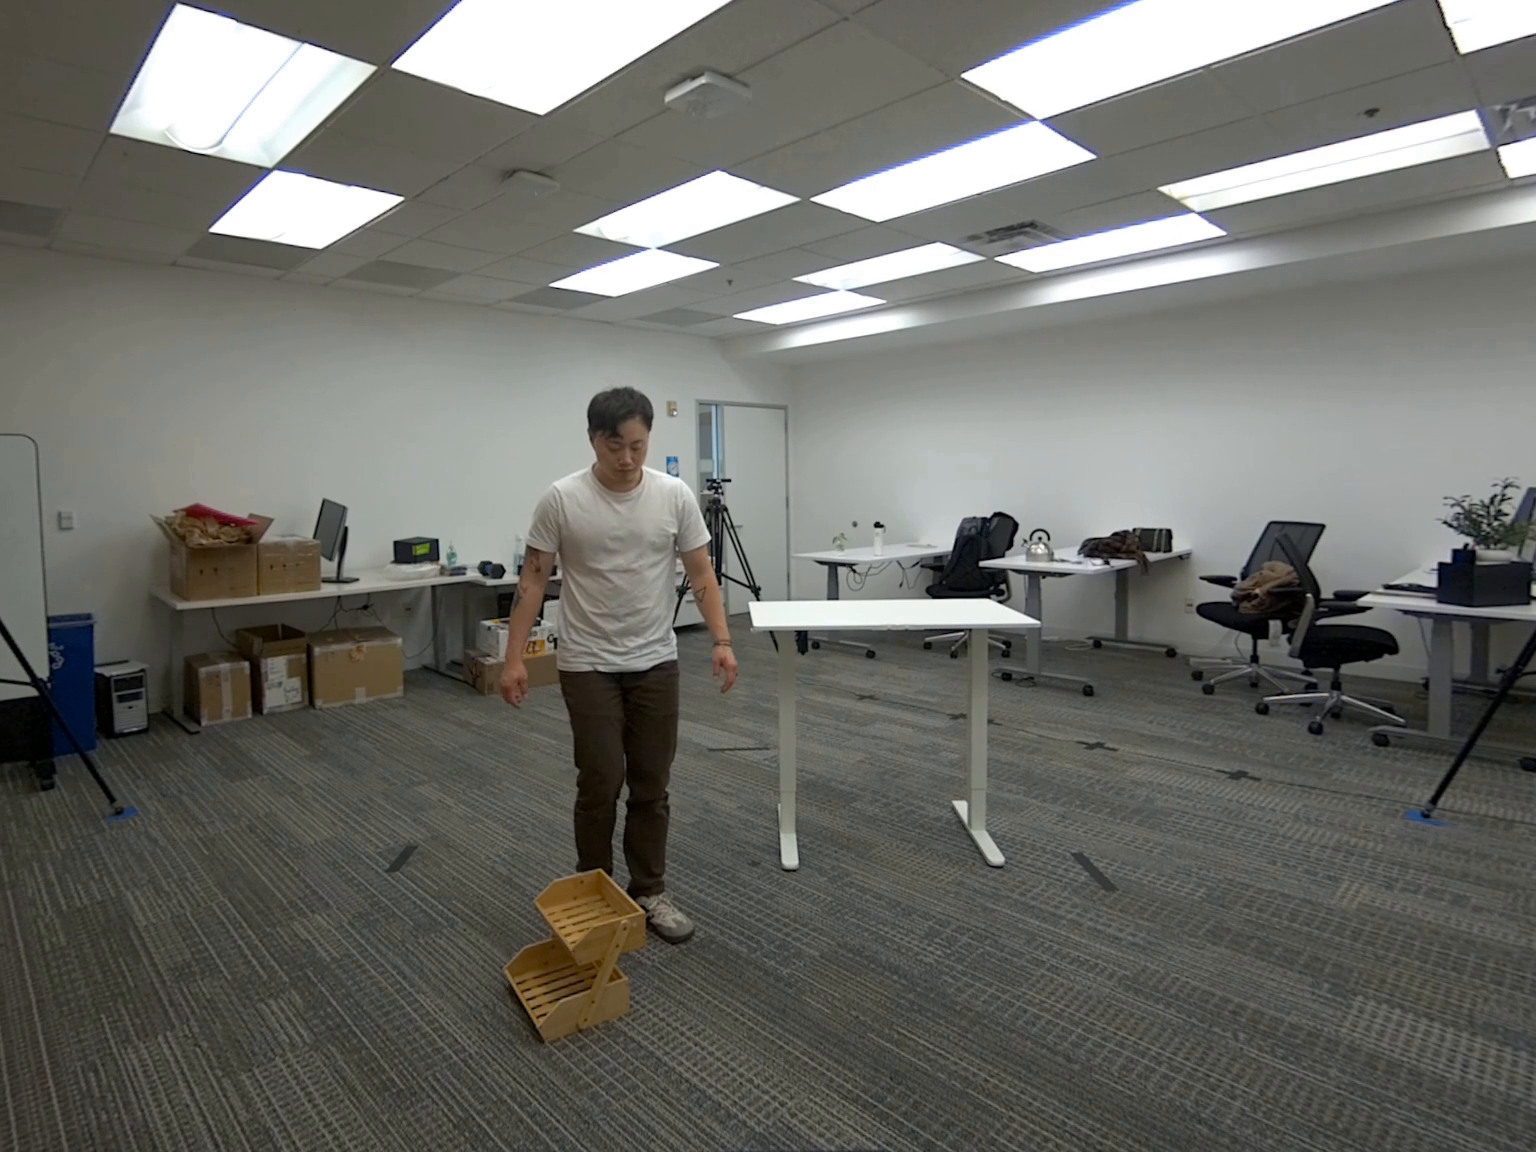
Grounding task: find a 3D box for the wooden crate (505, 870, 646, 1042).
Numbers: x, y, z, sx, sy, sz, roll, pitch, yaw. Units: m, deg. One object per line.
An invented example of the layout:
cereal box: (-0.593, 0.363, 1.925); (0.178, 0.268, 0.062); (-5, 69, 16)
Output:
wooden crate: (-0.535, 1.018, 2.323); (0.294, 0.272, 0.334); (-3, 6, -32)
